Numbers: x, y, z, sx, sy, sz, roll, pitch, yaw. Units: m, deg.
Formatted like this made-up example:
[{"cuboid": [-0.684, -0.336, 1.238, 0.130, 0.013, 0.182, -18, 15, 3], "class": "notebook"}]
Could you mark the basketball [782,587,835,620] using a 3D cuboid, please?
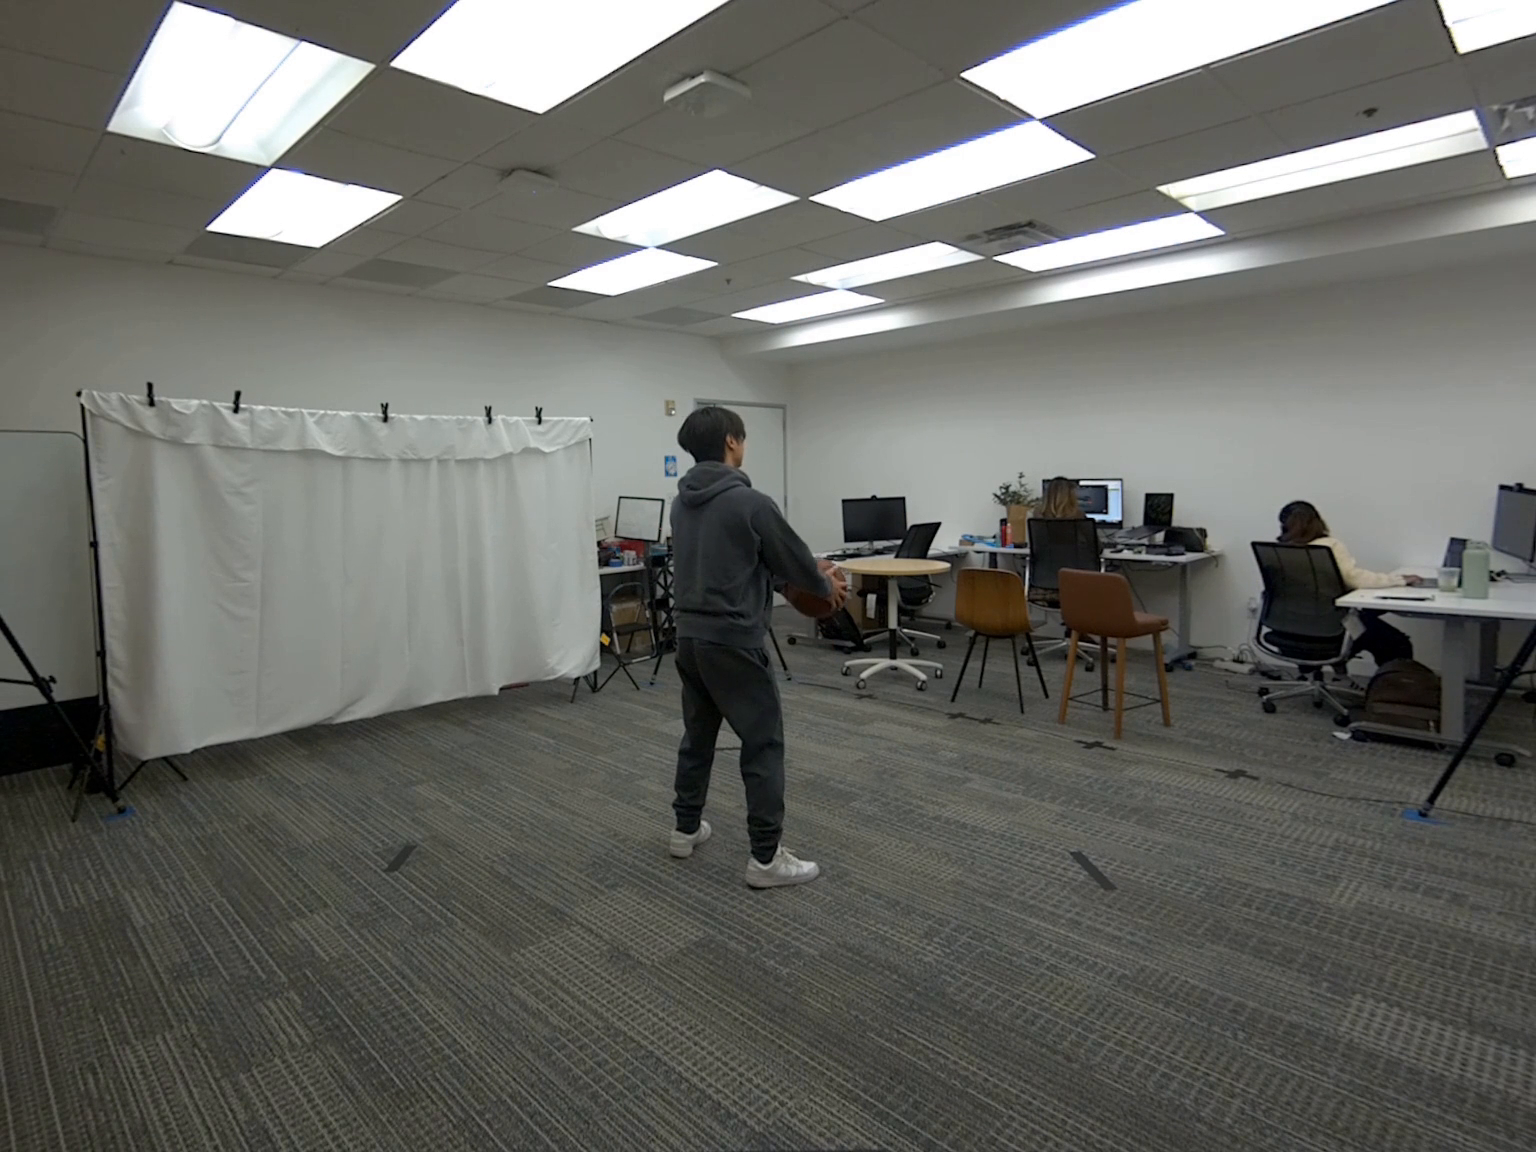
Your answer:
[{"cuboid": [0.199, 0.053, 3.396, 0.236, 0.235, 0.237, -1, 5, -2], "class": "basketball"}]
